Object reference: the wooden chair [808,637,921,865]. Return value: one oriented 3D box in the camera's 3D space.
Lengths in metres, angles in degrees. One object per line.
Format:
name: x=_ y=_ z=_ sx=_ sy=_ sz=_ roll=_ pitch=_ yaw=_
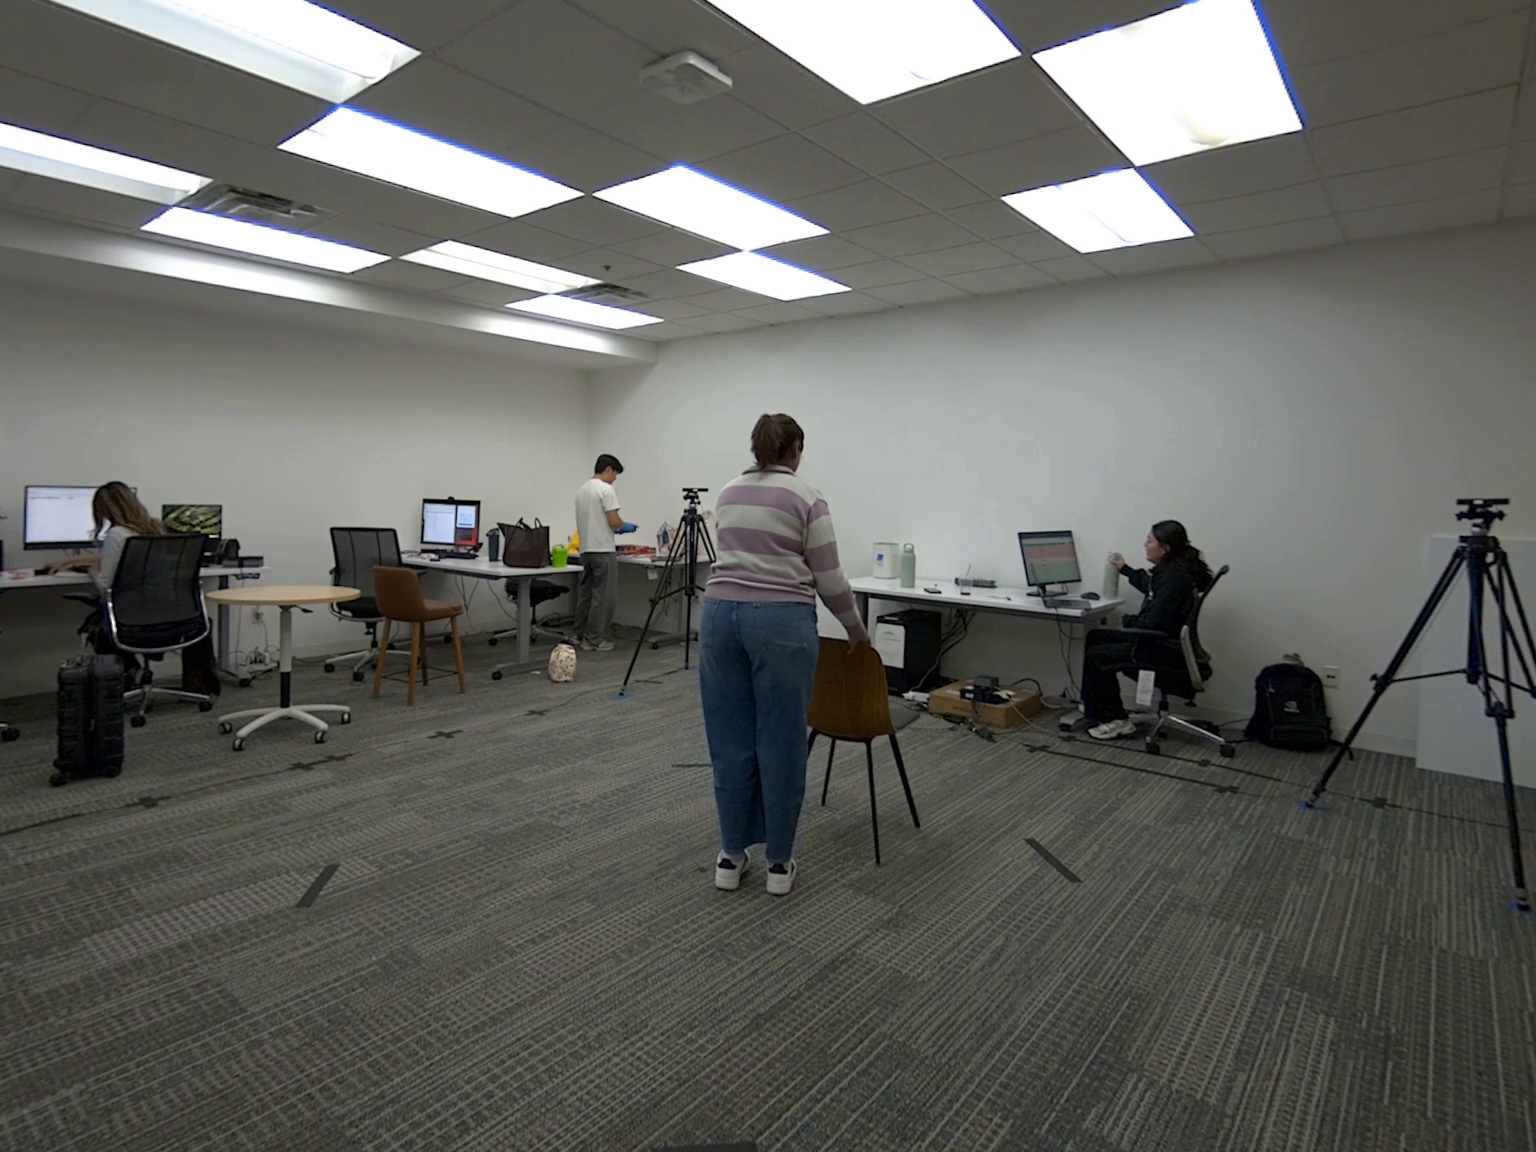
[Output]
wooden chair: x=0.332 y=0.618 z=3.462 sx=0.492 sy=0.871 sz=0.511 roll=3 pitch=8 yaw=31
